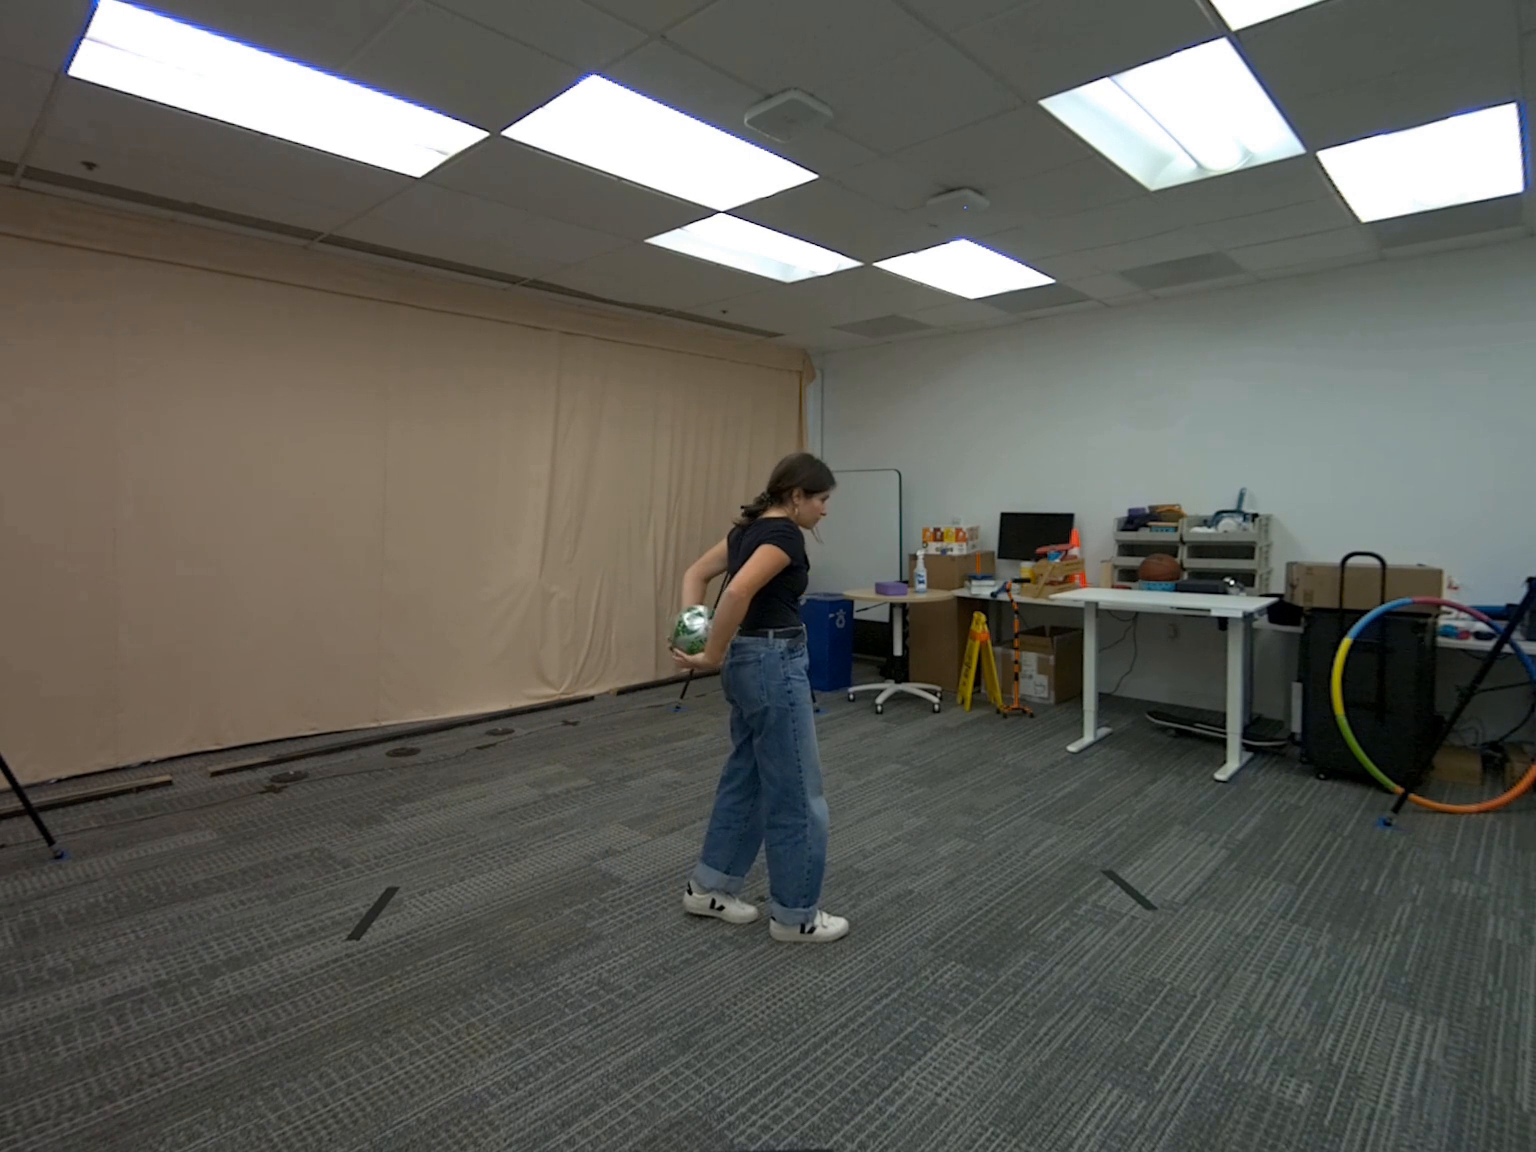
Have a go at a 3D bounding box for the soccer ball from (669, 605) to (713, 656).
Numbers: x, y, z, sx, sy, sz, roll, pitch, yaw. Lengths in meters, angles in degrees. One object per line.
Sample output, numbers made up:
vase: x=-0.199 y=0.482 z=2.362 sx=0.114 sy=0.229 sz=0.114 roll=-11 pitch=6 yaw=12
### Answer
soccer ball: x=-0.223 y=0.190 z=2.670 sx=0.187 sy=0.187 sz=0.188 roll=0 pitch=4 yaw=-2
